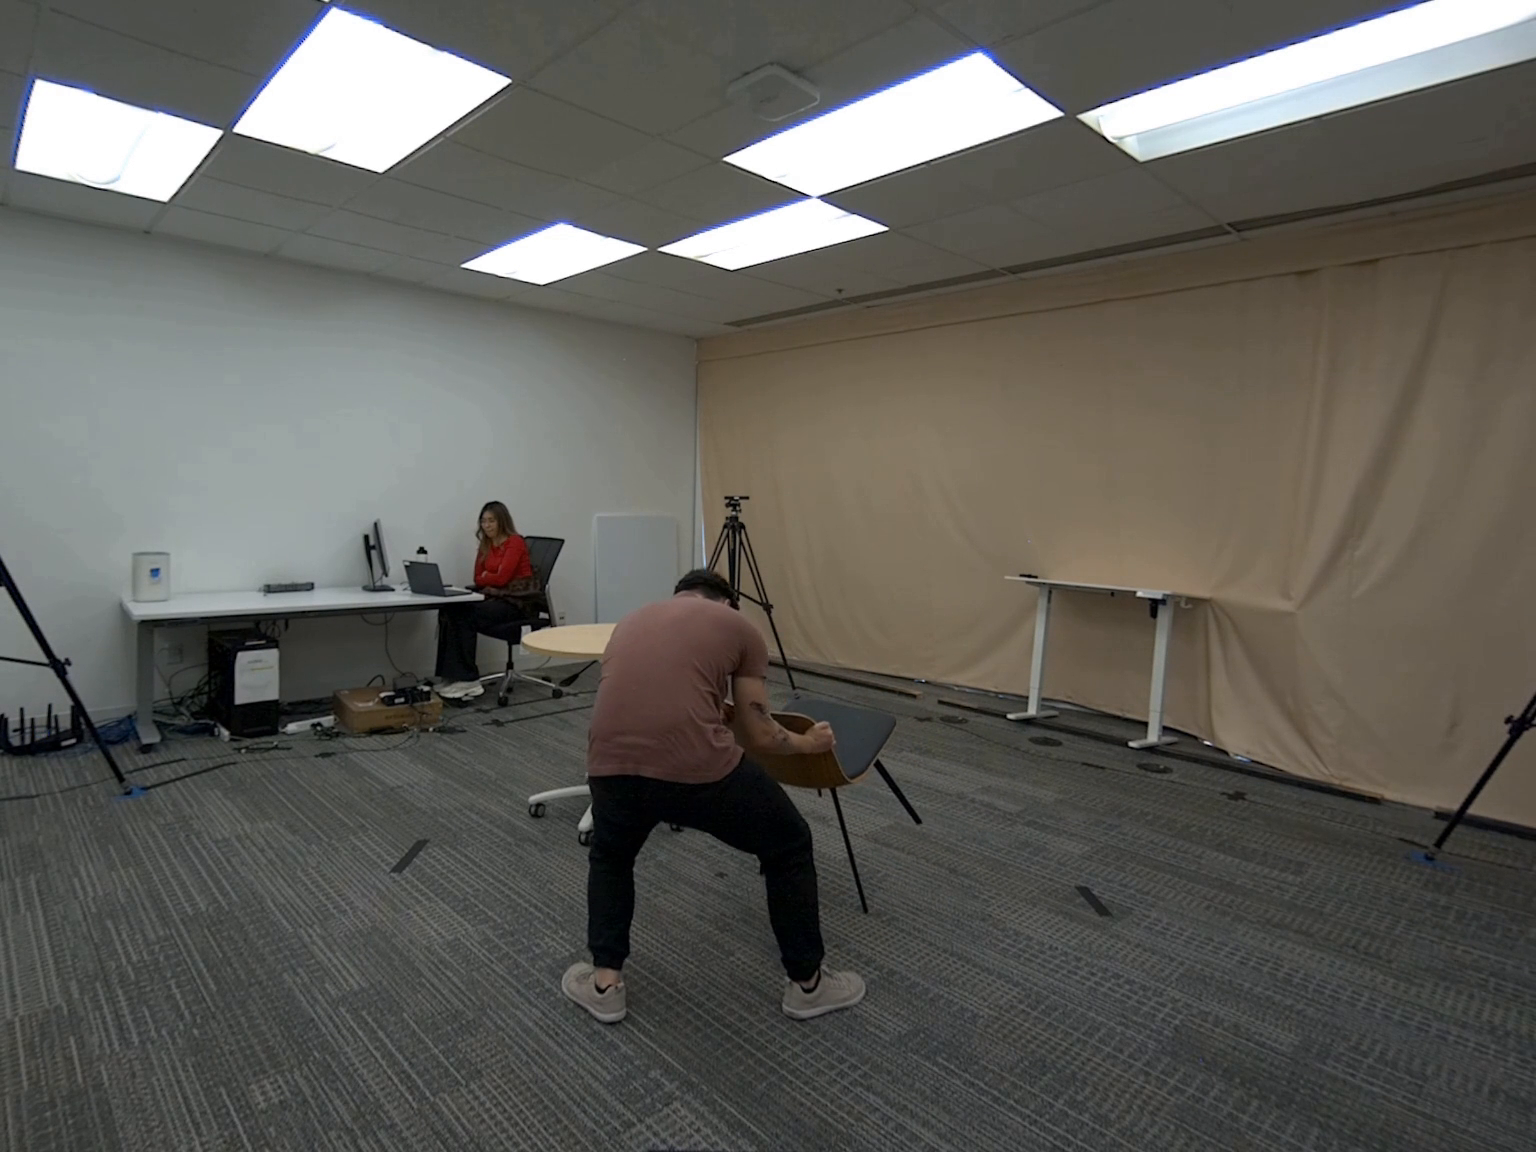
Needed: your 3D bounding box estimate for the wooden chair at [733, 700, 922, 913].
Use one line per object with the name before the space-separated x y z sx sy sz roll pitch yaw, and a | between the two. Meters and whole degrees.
wooden chair | 0.179 0.634 2.975 0.490 0.858 0.522 4 34 37
